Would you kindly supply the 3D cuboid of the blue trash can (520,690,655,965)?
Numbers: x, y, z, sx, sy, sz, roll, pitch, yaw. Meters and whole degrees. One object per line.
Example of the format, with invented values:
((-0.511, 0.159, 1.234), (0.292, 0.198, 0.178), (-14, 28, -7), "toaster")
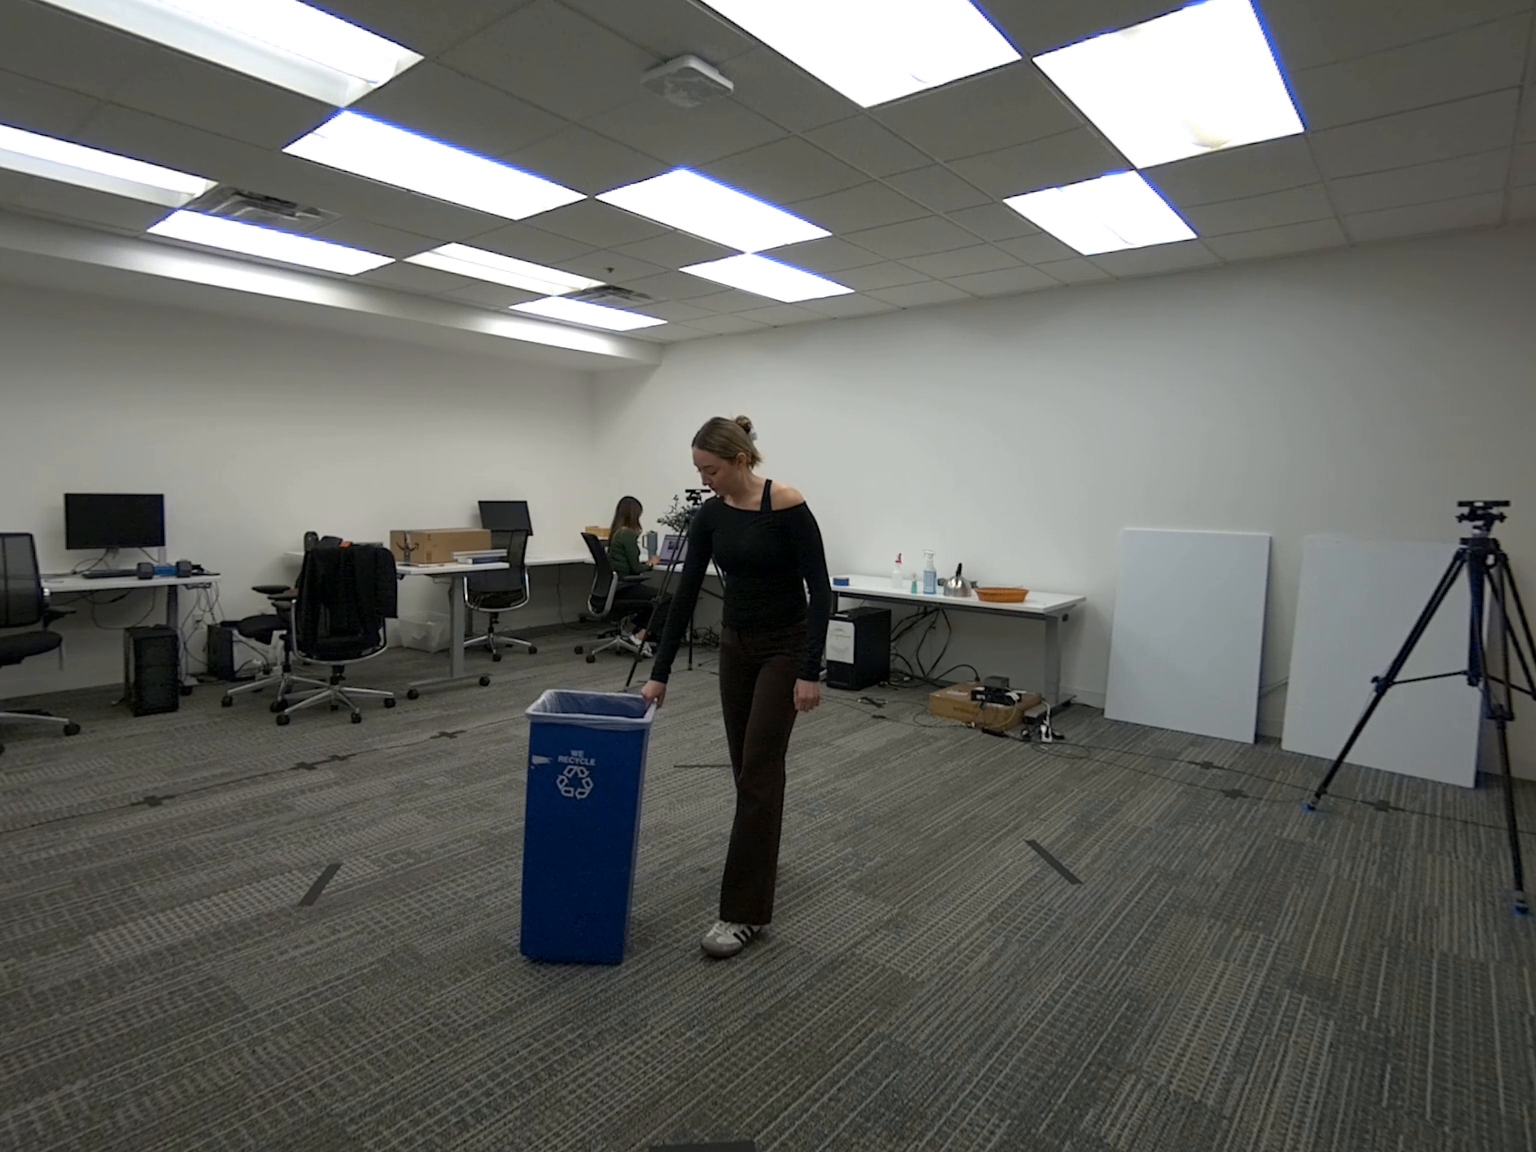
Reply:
((-0.557, 0.749, 2.613), (0.373, 0.713, 0.379), (3, 1, -3), "blue trash can")
